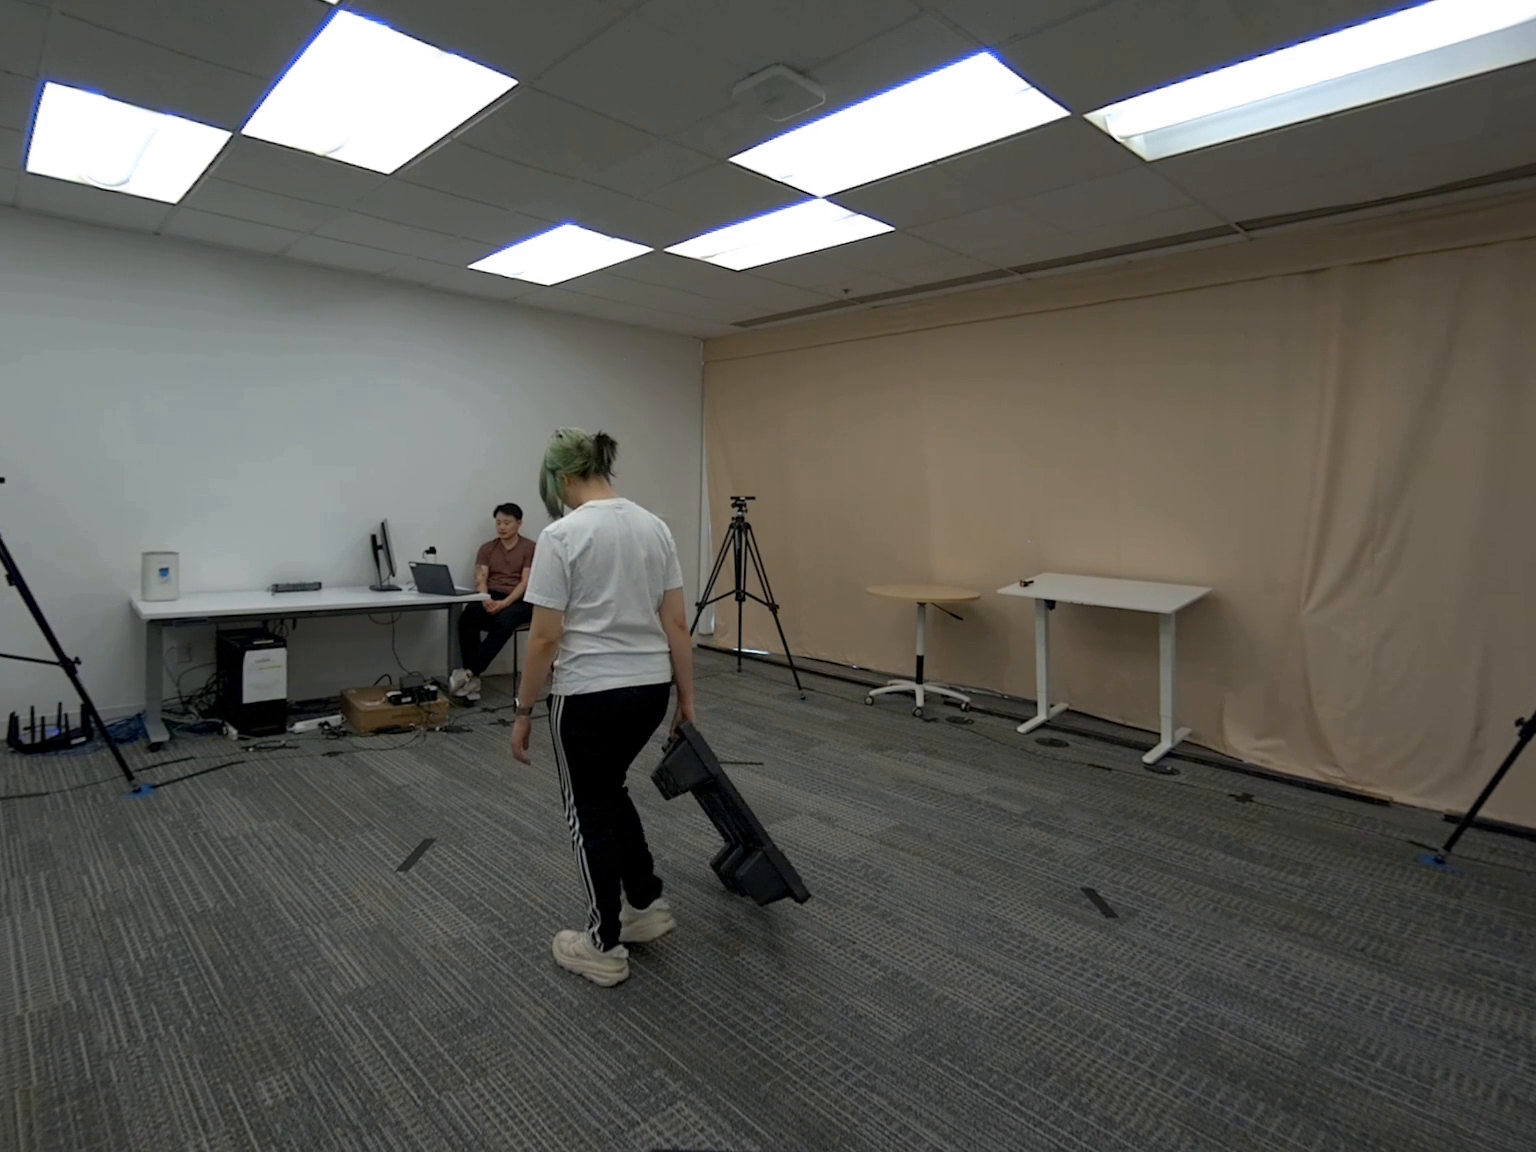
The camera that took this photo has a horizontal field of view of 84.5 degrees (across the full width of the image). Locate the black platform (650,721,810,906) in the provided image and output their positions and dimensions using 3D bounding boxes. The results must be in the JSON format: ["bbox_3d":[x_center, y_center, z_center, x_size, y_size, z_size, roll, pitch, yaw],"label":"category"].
[{"bbox_3d":[-0.175,0.790,2.717,0.142,0.612,0.801,-32,-9,-17],"label":"black platform"}]
